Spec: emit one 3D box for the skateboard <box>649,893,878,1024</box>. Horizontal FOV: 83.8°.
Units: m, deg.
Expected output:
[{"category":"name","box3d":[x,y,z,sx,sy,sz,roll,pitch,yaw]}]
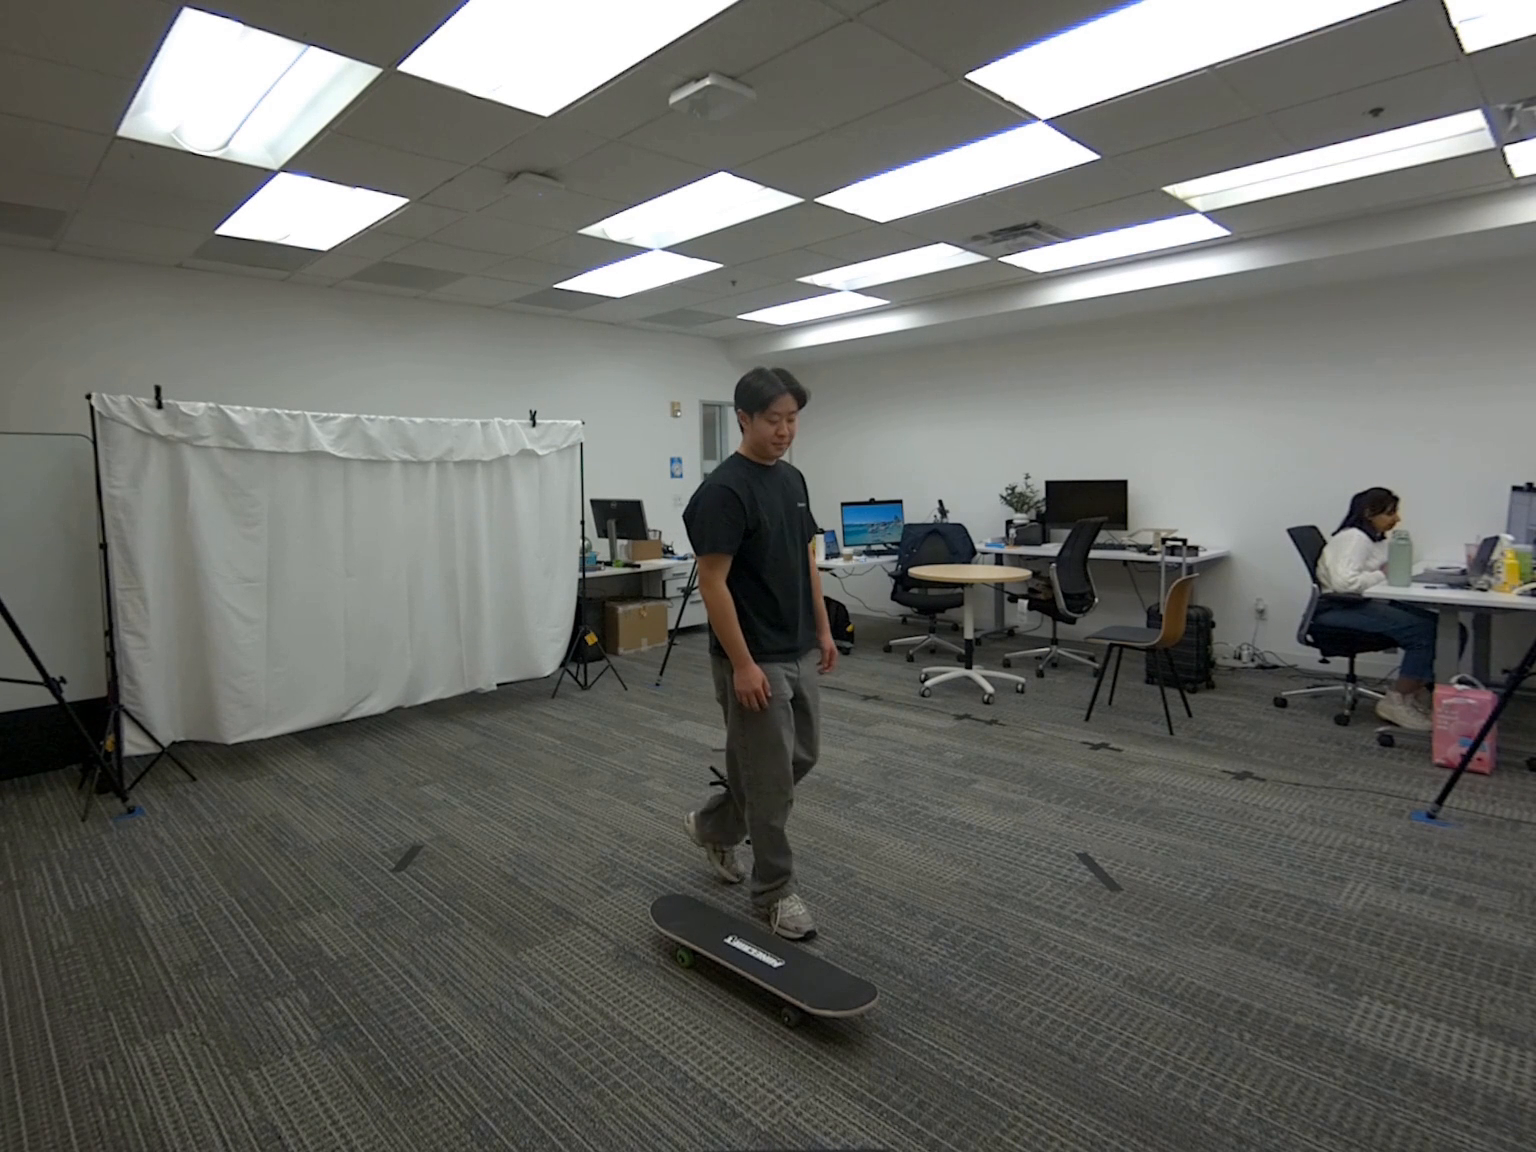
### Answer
[{"category":"skateboard","box3d":[-0.036,1.080,2.379,0.810,0.110,0.188,5,9,43]}]
